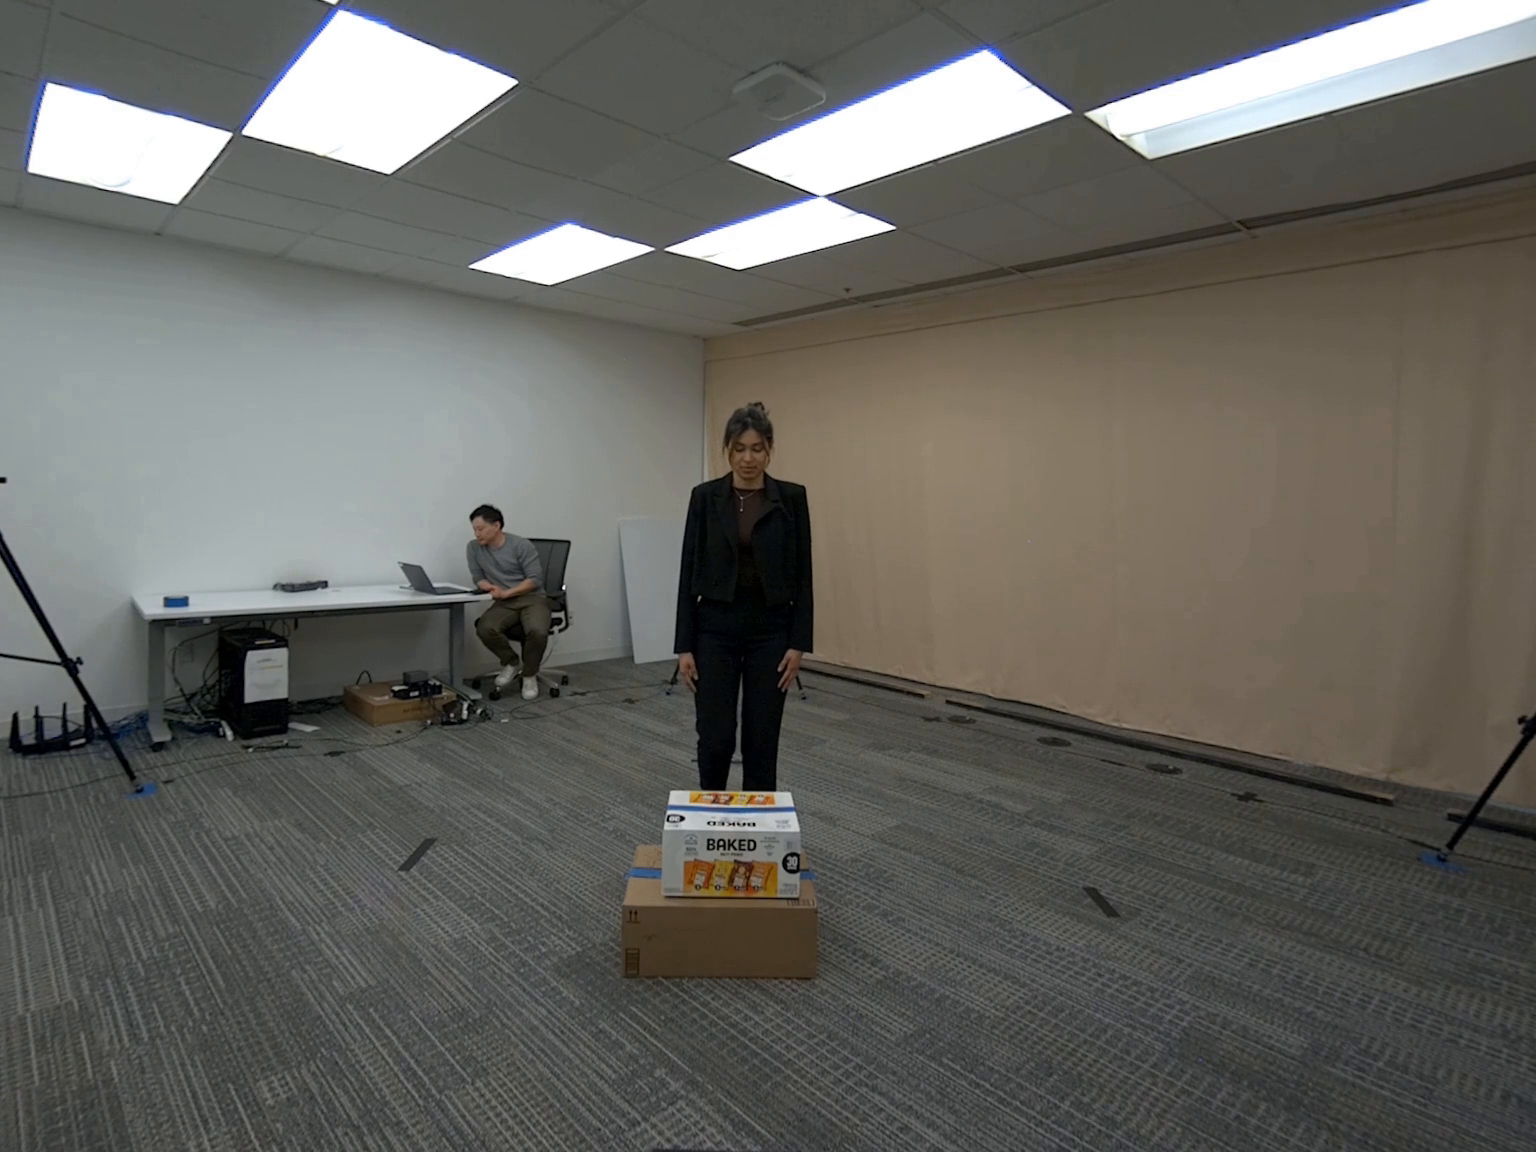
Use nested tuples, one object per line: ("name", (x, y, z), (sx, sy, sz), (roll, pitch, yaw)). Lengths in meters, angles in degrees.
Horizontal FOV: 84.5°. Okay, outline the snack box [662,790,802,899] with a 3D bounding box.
("snack box", (-0.125, 0.830, 2.621), (0.404, 0.205, 0.341), (1, 3, -2))
